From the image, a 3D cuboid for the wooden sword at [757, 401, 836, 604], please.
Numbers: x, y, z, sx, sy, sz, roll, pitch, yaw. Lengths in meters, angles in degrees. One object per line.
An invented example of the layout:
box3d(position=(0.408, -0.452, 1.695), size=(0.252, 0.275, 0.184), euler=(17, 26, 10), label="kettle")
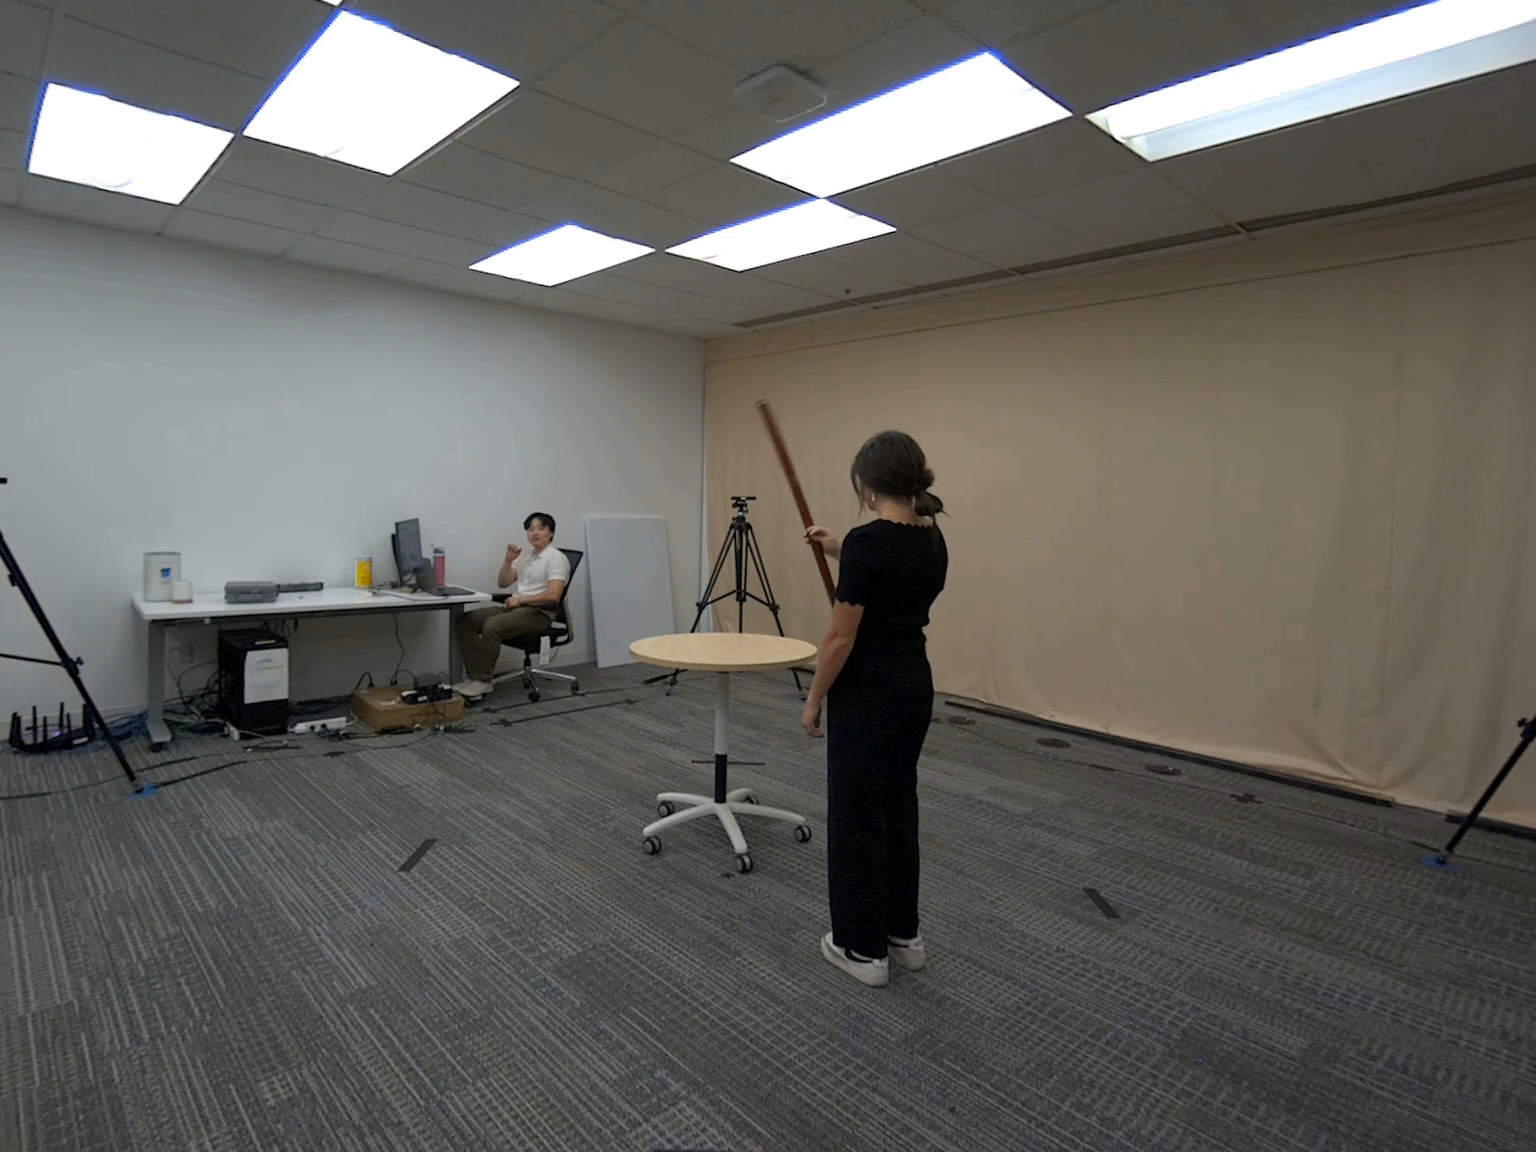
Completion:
box3d(position=(0.151, -0.107, 2.803), size=(0.050, 1.024, 0.024), euler=(-17, 1, -30), label="wooden sword")
